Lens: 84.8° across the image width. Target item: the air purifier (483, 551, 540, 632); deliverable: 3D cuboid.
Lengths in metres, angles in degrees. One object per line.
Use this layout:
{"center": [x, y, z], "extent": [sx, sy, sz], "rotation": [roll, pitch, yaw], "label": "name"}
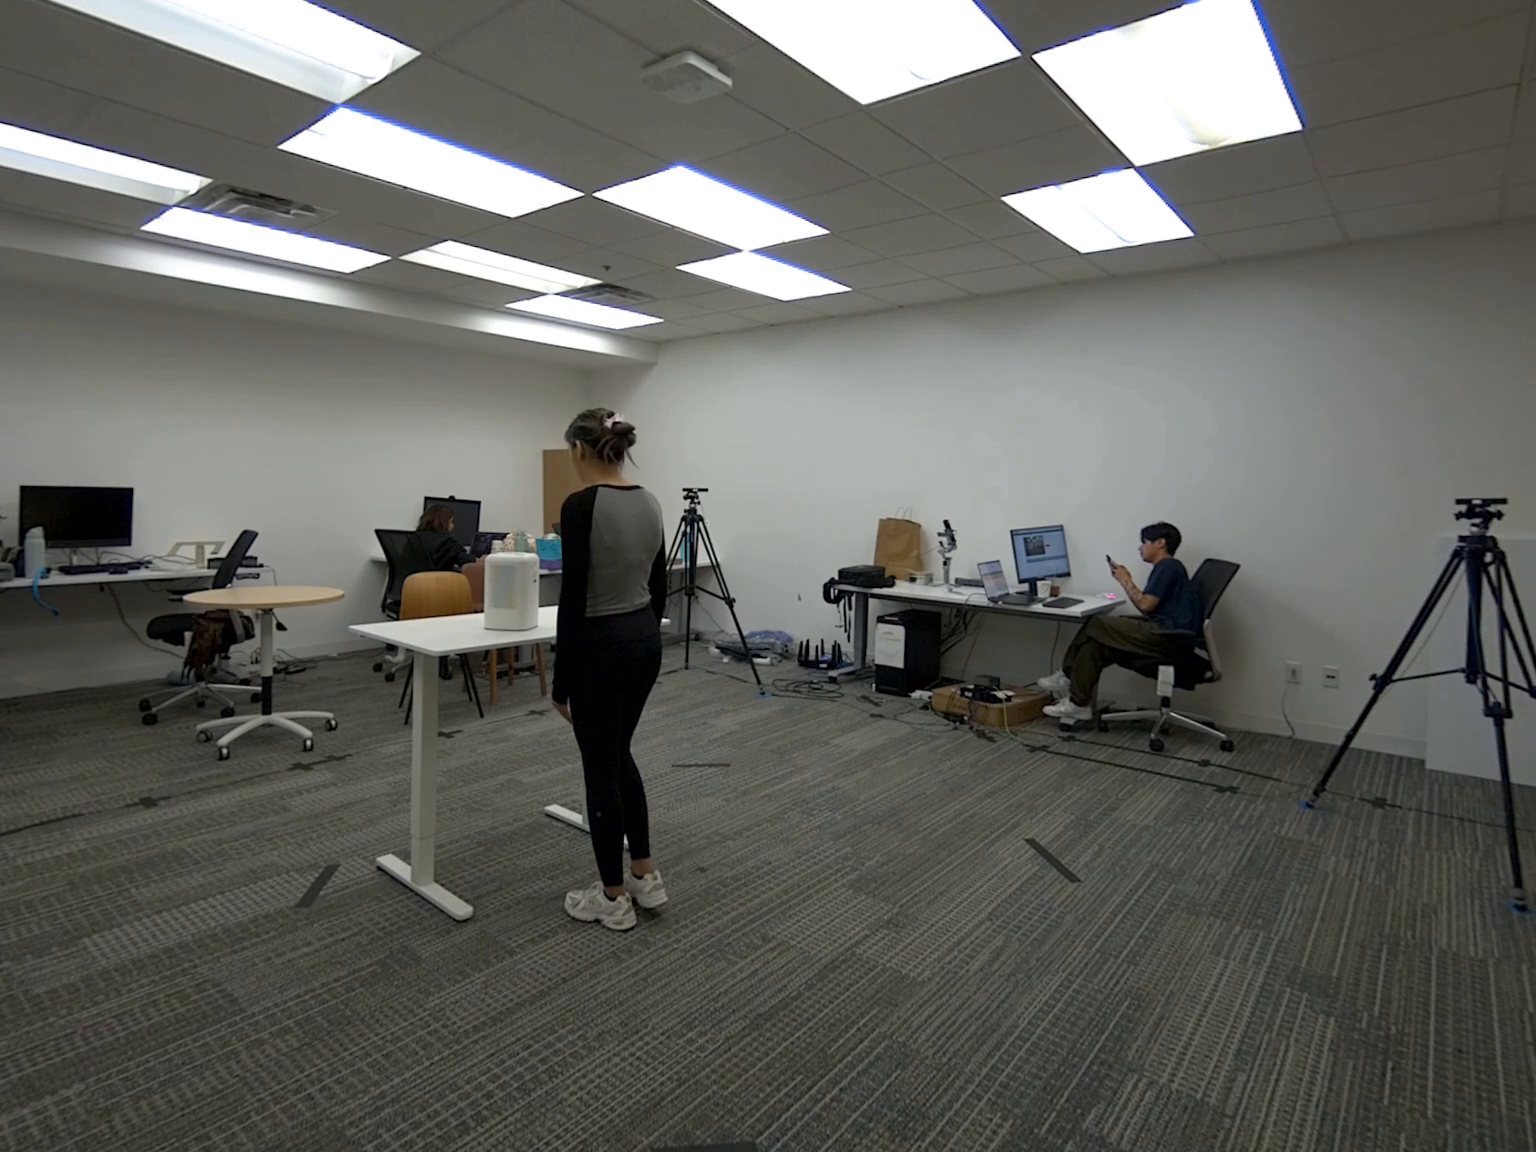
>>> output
{"center": [-0.932, 0.049, 3.042], "extent": [0.173, 0.265, 0.170], "rotation": [2, 3, 8], "label": "air purifier"}
